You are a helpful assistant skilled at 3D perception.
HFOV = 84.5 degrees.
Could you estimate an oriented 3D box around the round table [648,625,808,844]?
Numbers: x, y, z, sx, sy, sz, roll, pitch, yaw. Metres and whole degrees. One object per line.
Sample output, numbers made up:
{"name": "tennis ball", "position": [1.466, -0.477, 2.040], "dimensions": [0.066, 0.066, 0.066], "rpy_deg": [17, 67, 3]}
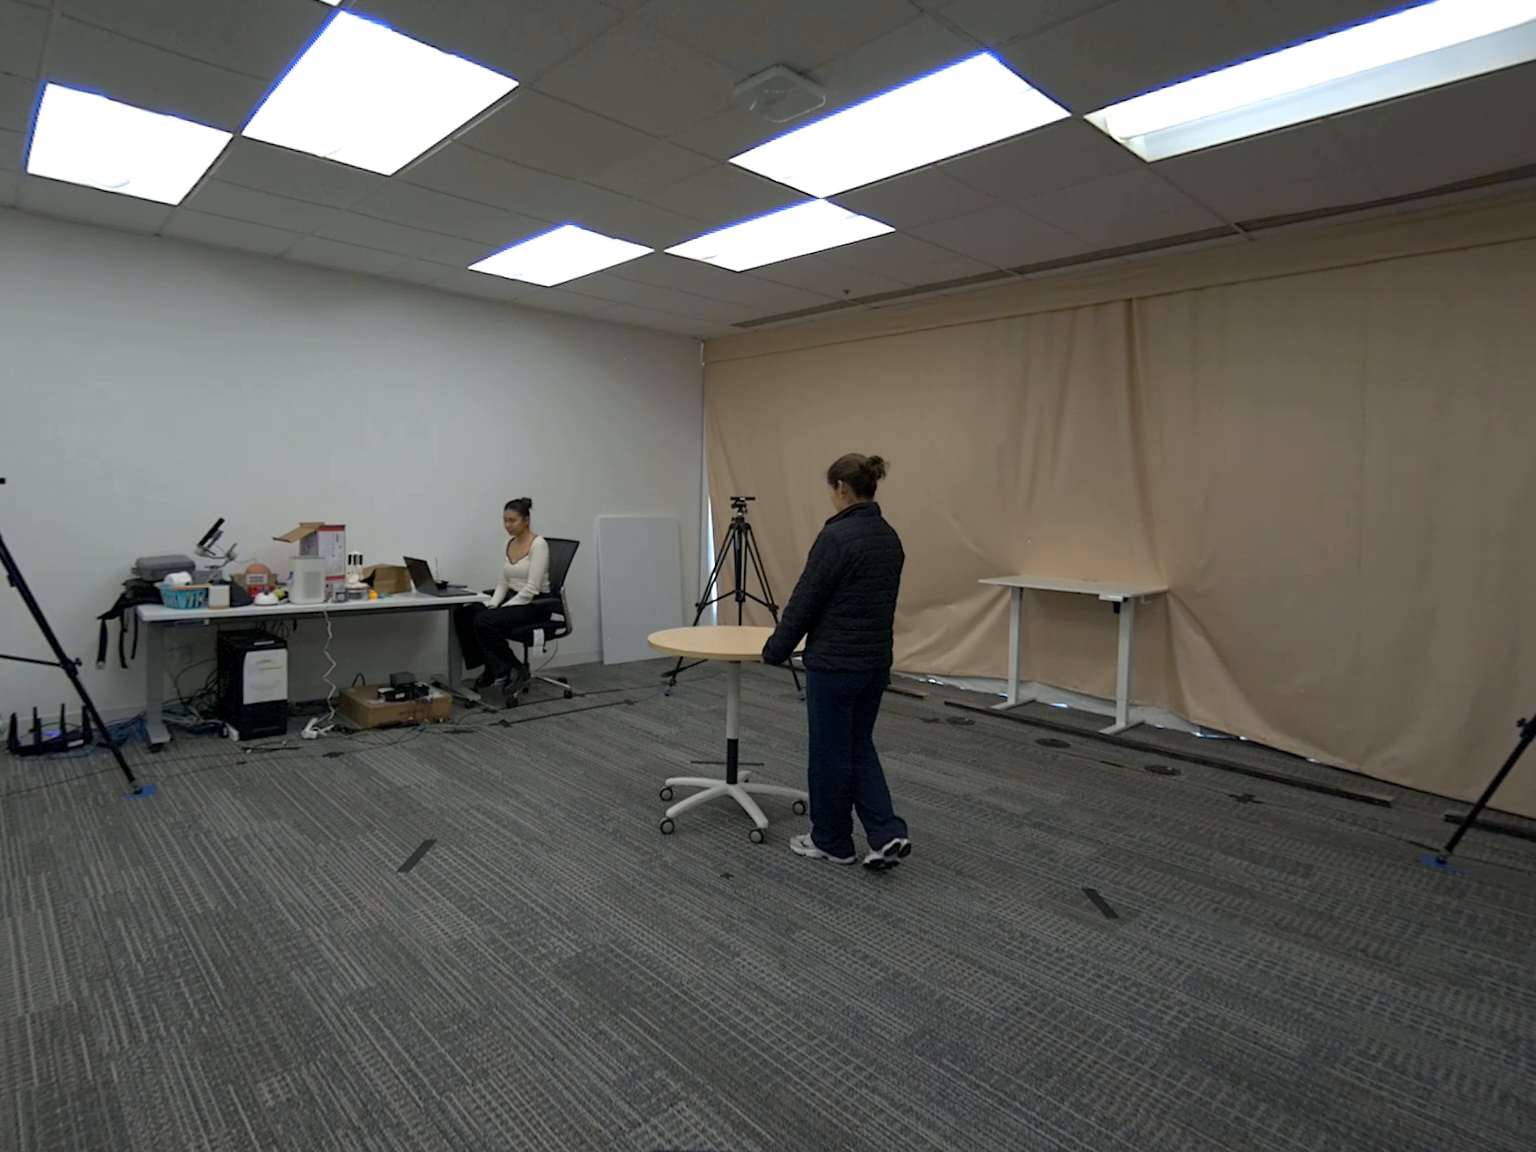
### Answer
{"name": "round table", "position": [-0.165, 0.664, 3.674], "dimensions": [0.784, 0.785, 0.787], "rpy_deg": [1, 3, -1]}
